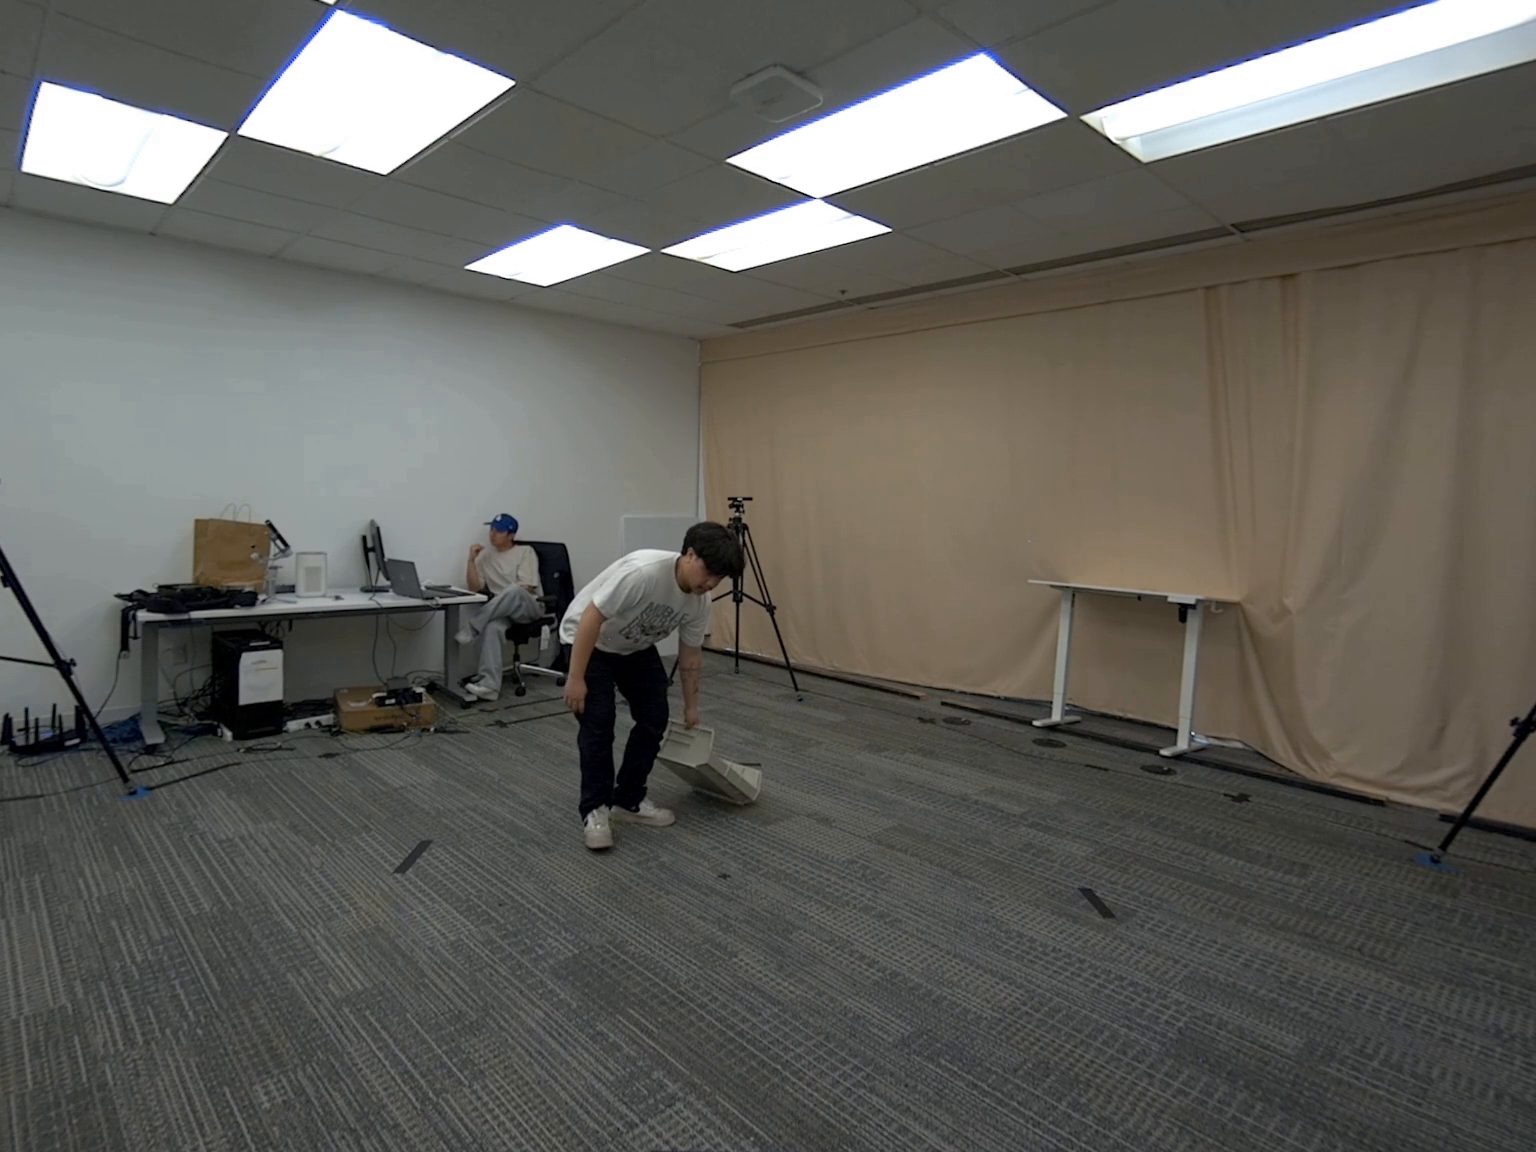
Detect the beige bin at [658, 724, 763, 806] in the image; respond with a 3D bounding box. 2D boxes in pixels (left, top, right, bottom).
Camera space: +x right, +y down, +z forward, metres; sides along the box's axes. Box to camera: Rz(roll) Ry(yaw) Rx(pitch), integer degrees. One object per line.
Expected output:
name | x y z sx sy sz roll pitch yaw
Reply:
beige bin | -0.296 0.846 3.823 0.387 0.190 0.409 4 -32 40
